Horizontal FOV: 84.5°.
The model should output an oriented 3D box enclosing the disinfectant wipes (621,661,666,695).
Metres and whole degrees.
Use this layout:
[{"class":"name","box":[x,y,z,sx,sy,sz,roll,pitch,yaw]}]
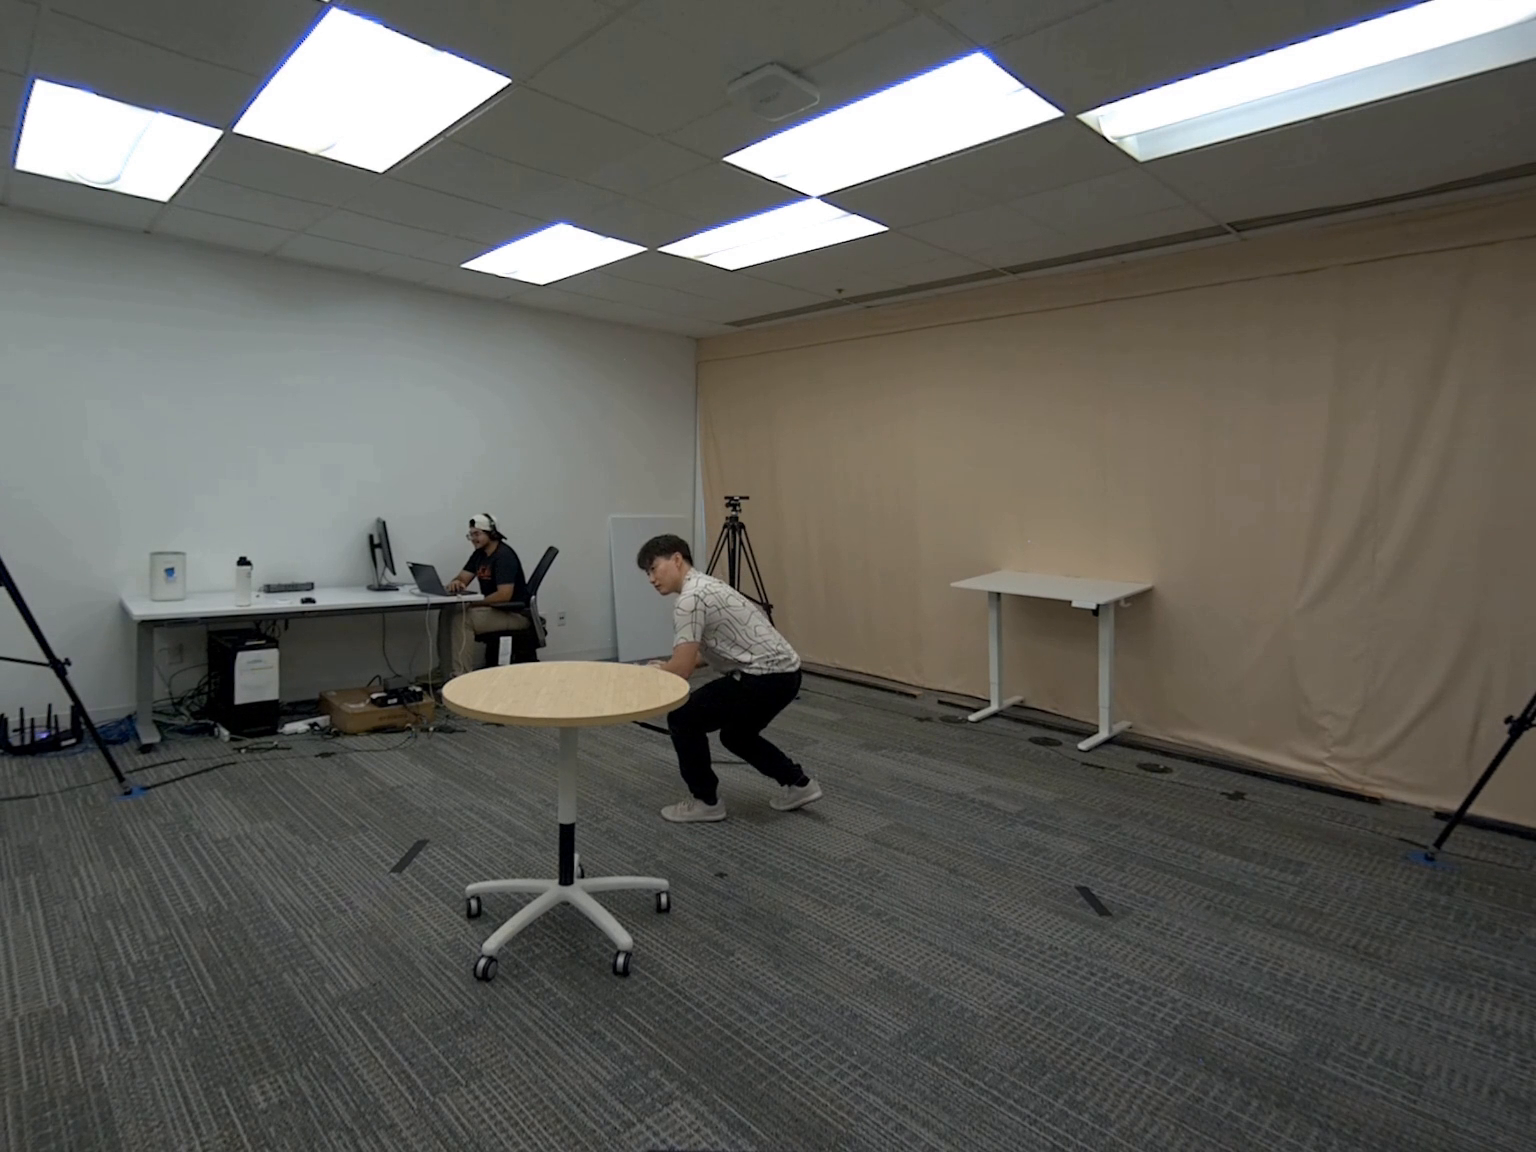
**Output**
[{"class":"disinfectant wipes","box":[-0.552,0.450,3.765,0.119,0.118,0.214,3,-2,15]}]
